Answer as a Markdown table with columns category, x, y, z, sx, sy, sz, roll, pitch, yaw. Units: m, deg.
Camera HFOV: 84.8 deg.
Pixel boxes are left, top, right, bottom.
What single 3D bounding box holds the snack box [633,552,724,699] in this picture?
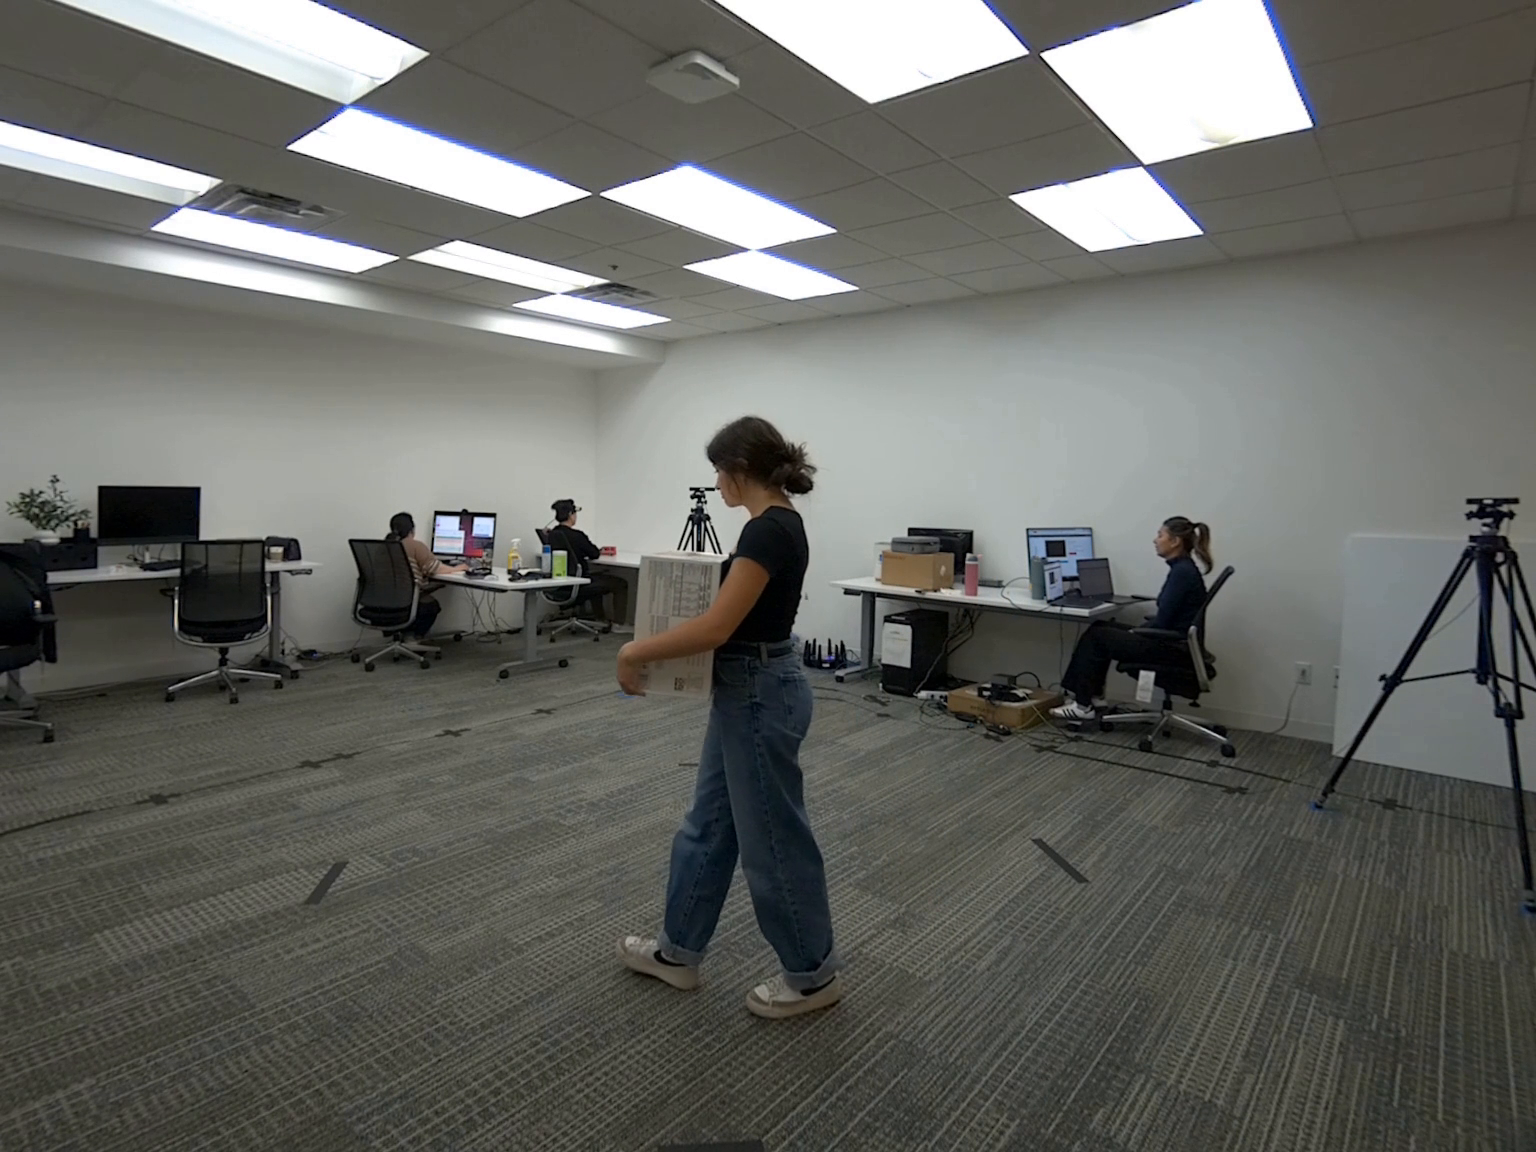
| category | x | y | z | sx | sy | sz | roll | pitch | yaw |
| --- | --- | --- | --- | --- | --- | --- | --- | --- | --- |
| snack box | -0.232 | 0.106 | 2.276 | 0.206 | 0.340 | 0.404 | 5 | 2 | 2 |
